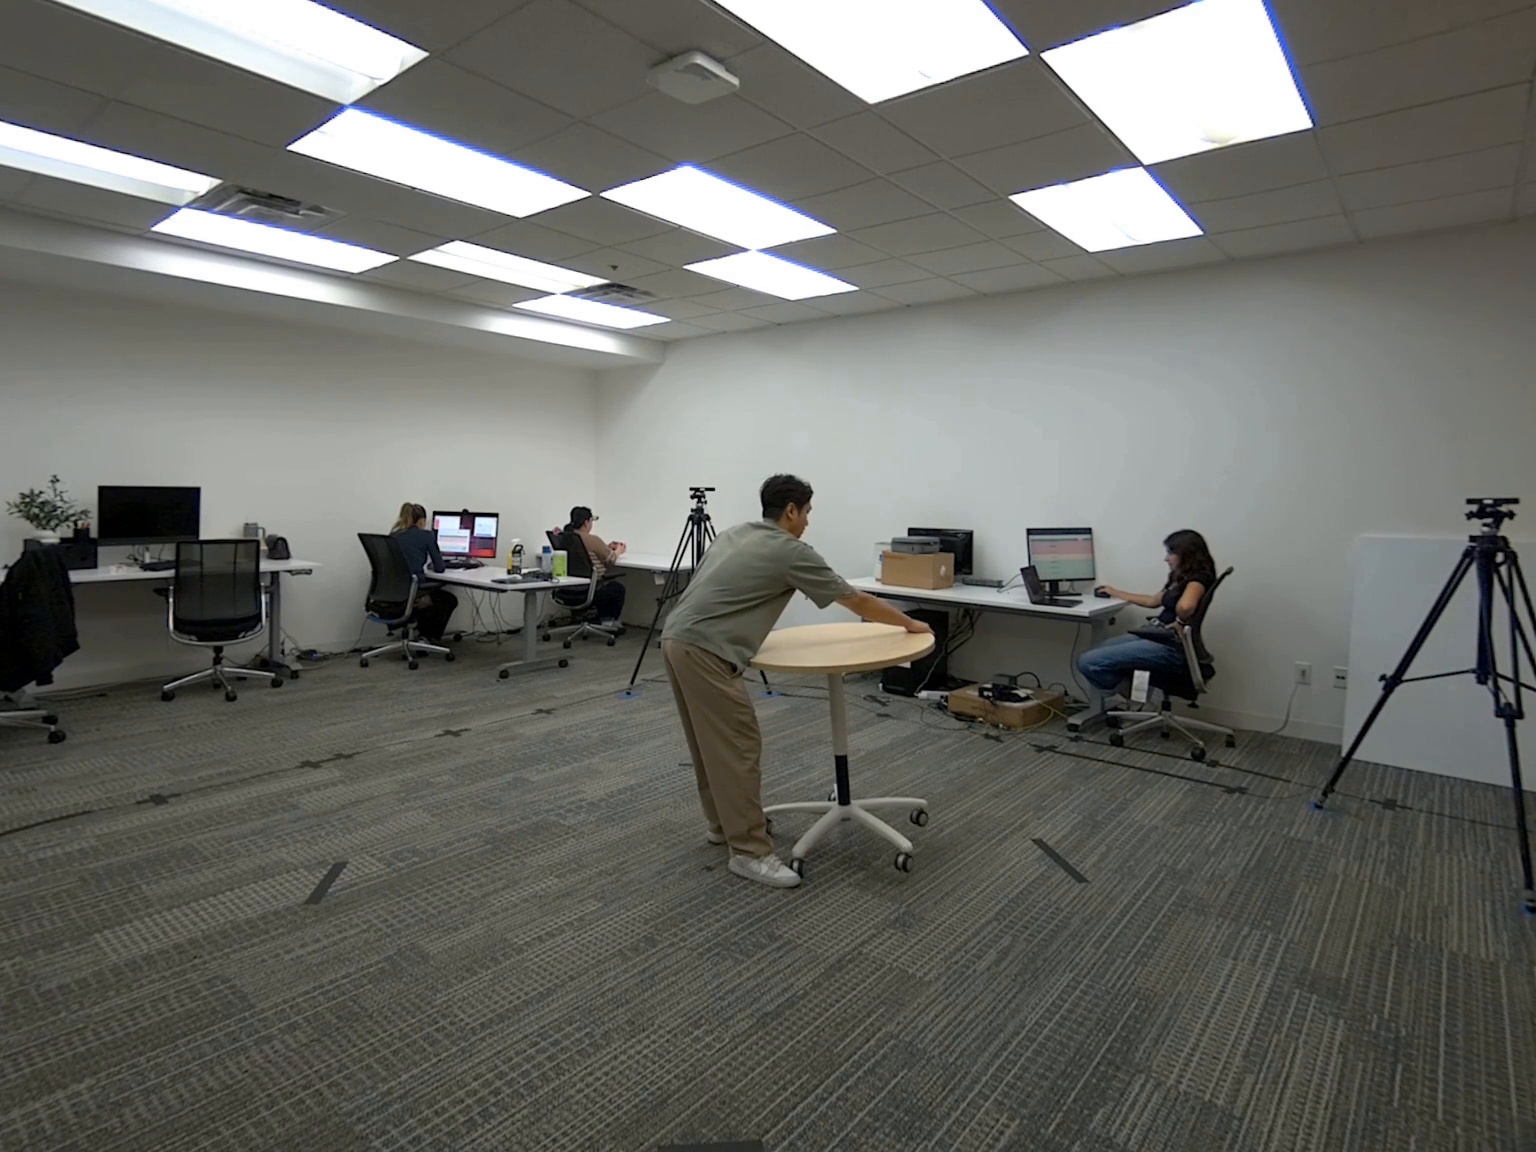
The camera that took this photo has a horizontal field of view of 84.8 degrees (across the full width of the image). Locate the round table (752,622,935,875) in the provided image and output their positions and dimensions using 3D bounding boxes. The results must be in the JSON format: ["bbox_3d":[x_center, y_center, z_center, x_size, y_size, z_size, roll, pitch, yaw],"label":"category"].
[{"bbox_3d":[0.280,0.640,3.317,0.785,0.783,0.790,-4,5,-1],"label":"round table"}]
